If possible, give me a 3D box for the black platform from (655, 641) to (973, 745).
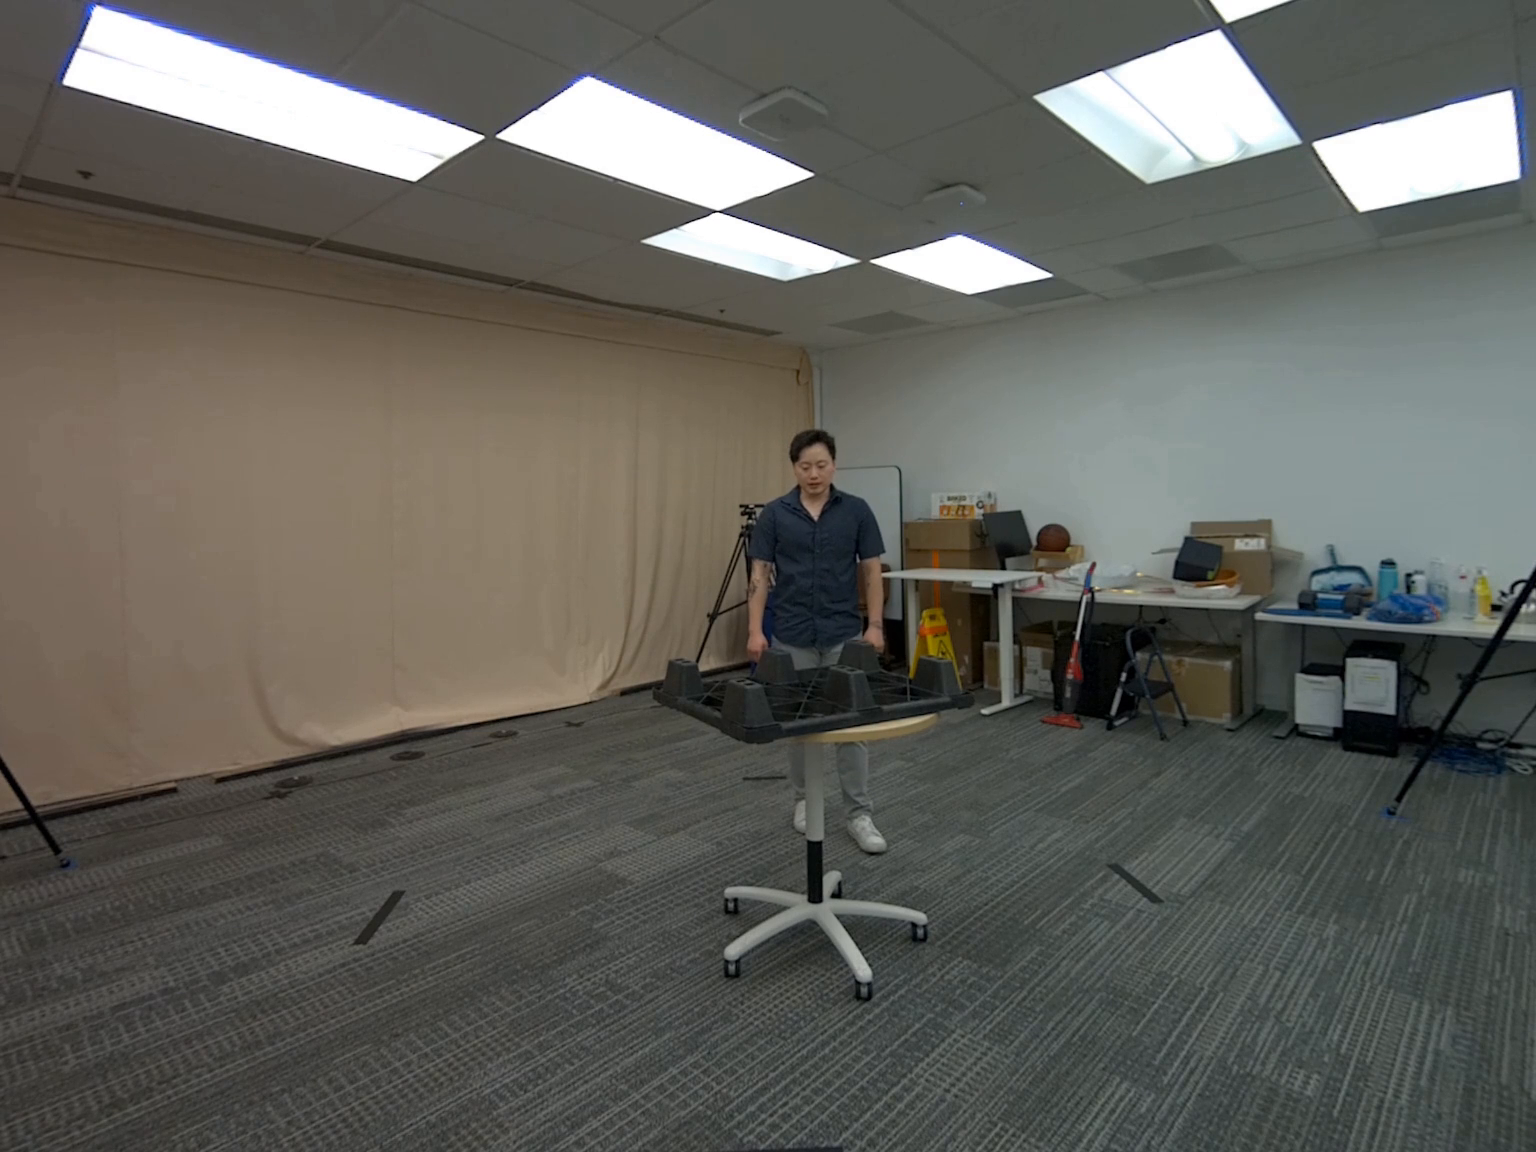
[{"bbox_3d":[0.129,0.323,2.573,0.784,0.143,0.623,-4,5,-31],"label":"black platform"}]
